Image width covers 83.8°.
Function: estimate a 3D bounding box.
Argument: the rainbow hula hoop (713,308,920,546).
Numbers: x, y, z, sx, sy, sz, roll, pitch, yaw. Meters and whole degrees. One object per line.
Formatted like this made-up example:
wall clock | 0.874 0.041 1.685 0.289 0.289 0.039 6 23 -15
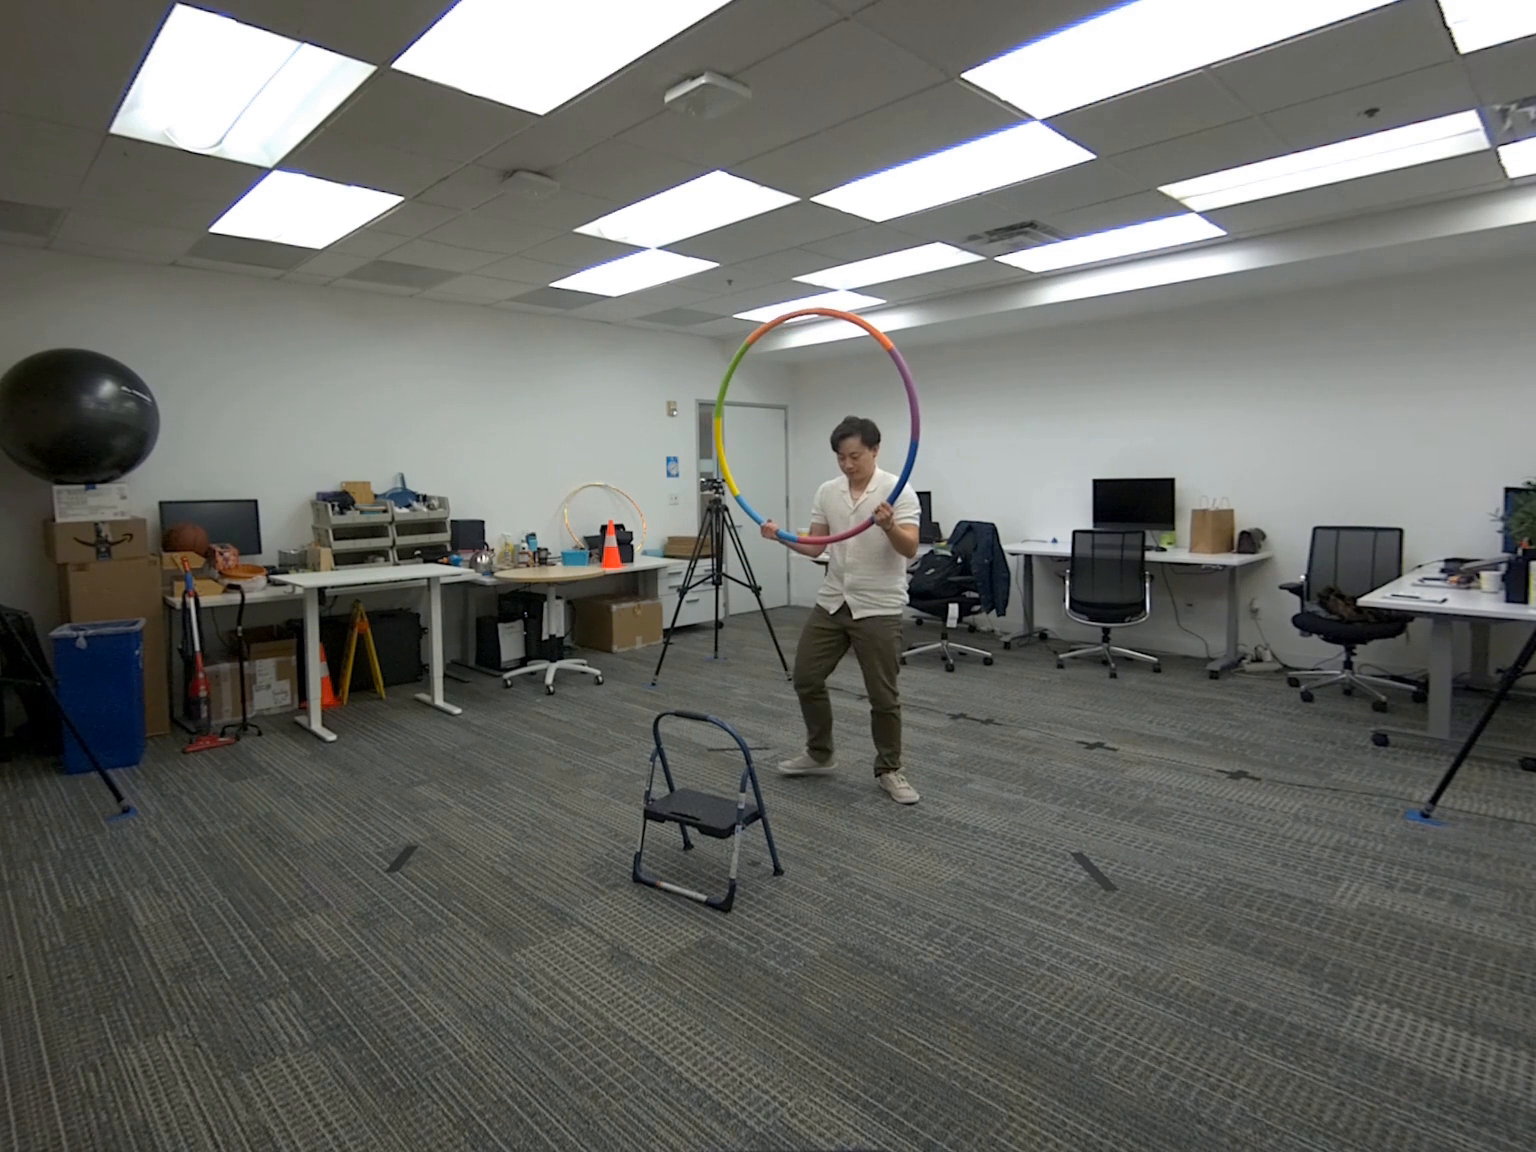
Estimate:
rainbow hula hoop | 0.172 -0.608 3.593 1.007 0.973 0.035 3 8 36
